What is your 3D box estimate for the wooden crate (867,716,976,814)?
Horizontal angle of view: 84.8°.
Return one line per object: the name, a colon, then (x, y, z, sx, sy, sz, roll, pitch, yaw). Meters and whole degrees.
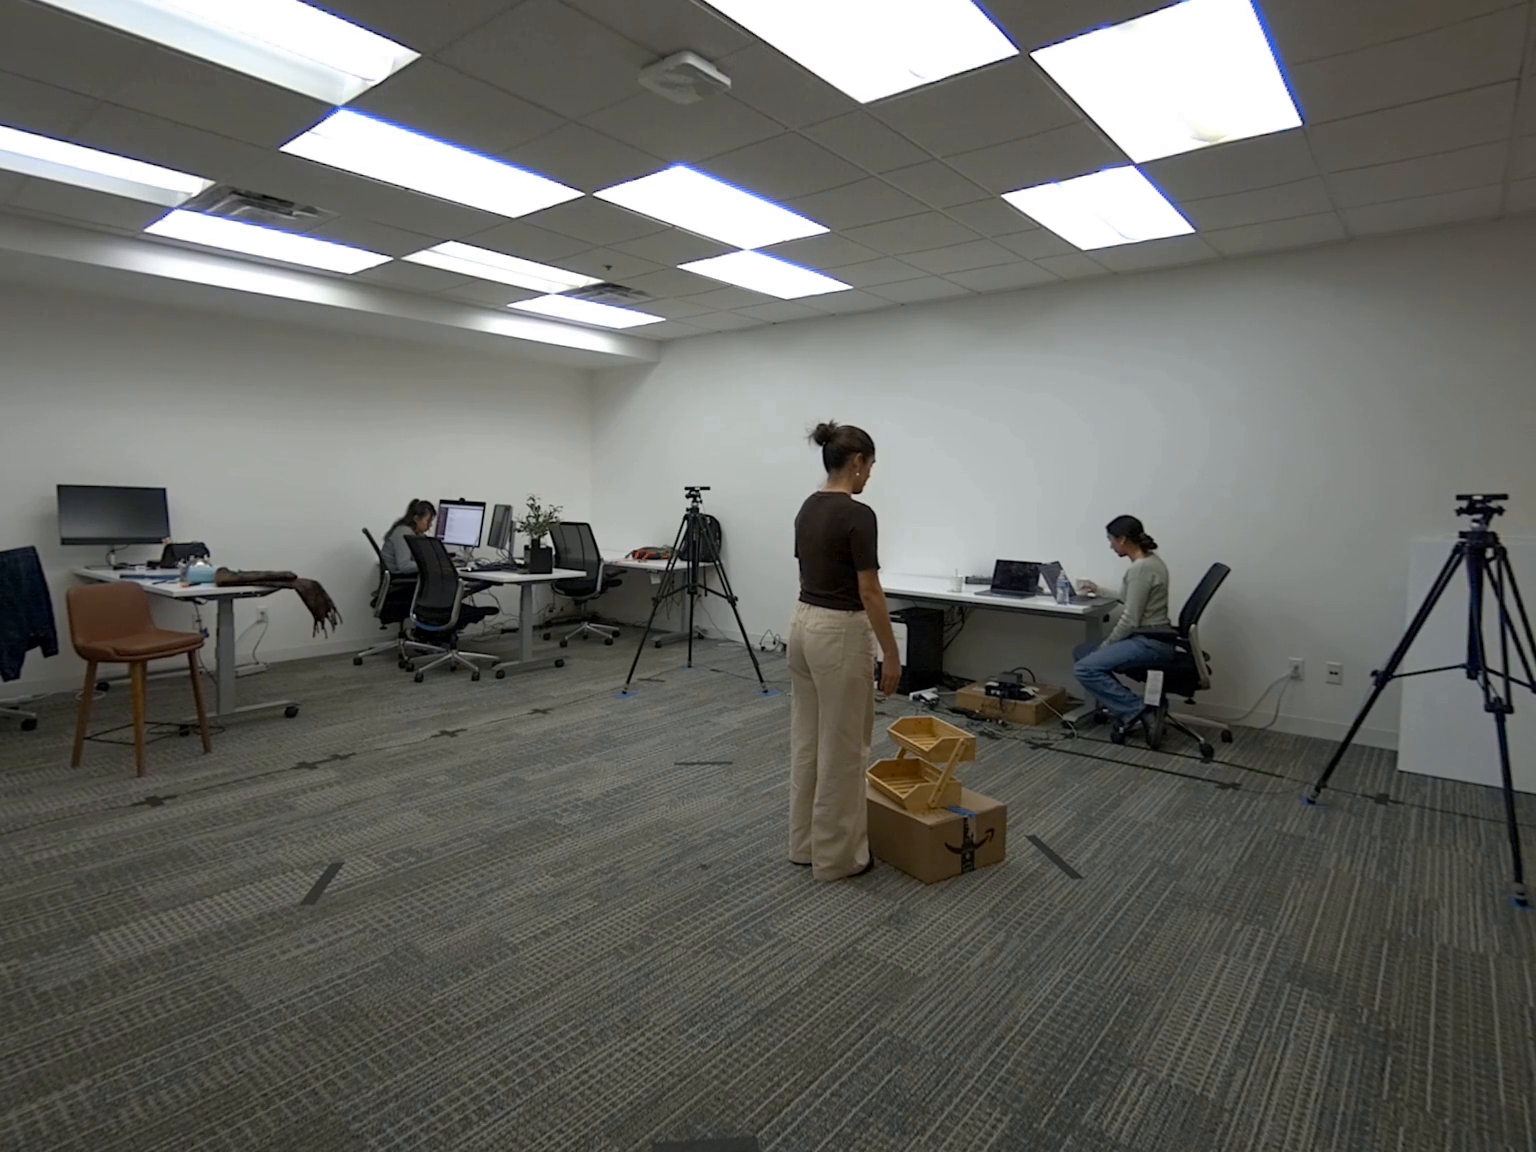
wooden crate: (0.571, 0.710, 3.315, 0.296, 0.272, 0.332, 1, 5, -20)
